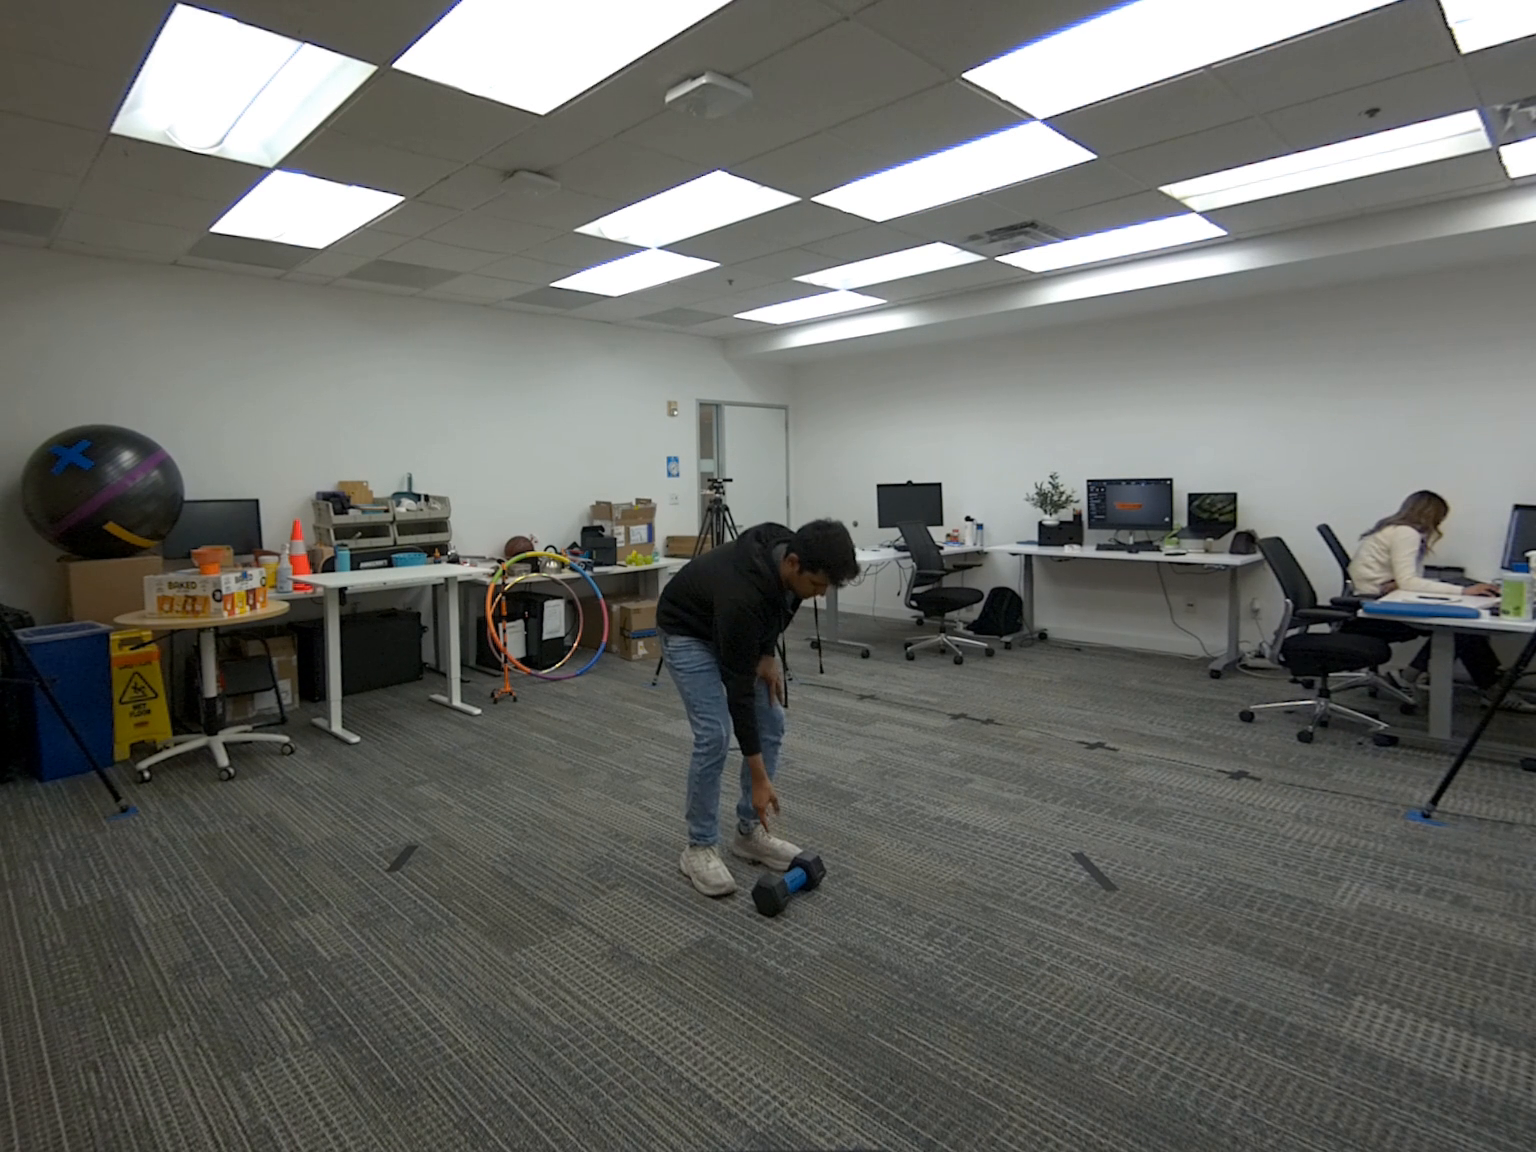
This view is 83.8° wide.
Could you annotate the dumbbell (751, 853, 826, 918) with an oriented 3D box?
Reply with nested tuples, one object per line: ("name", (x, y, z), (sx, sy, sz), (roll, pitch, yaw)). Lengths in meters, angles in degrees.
("dumbbell", (0.075, 1.013, 2.844), (0.112, 0.122, 0.286), (37, 26, 28))
